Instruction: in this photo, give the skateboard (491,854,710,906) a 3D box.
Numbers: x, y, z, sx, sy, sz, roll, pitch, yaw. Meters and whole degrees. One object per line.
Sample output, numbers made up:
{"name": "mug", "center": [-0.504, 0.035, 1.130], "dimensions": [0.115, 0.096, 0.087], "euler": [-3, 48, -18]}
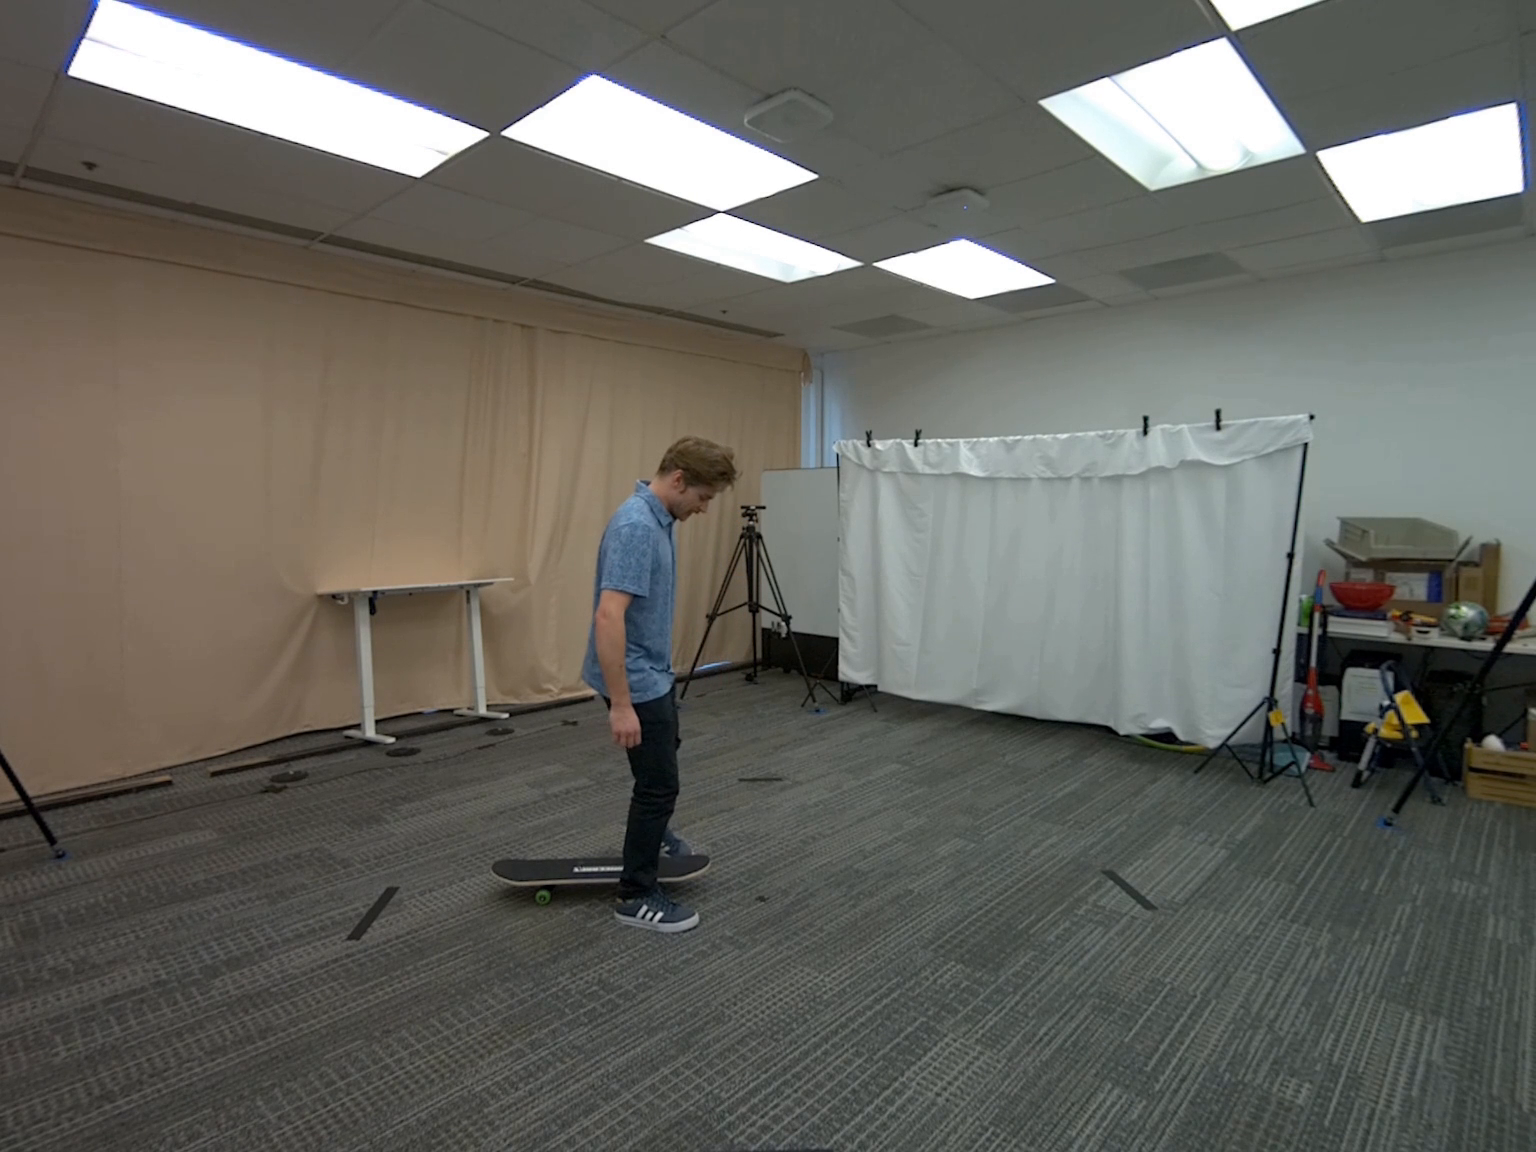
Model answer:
{"name": "skateboard", "center": [-0.602, 1.085, 3.040], "dimensions": [0.784, 0.110, 0.194], "euler": [-1, 4, -2]}
